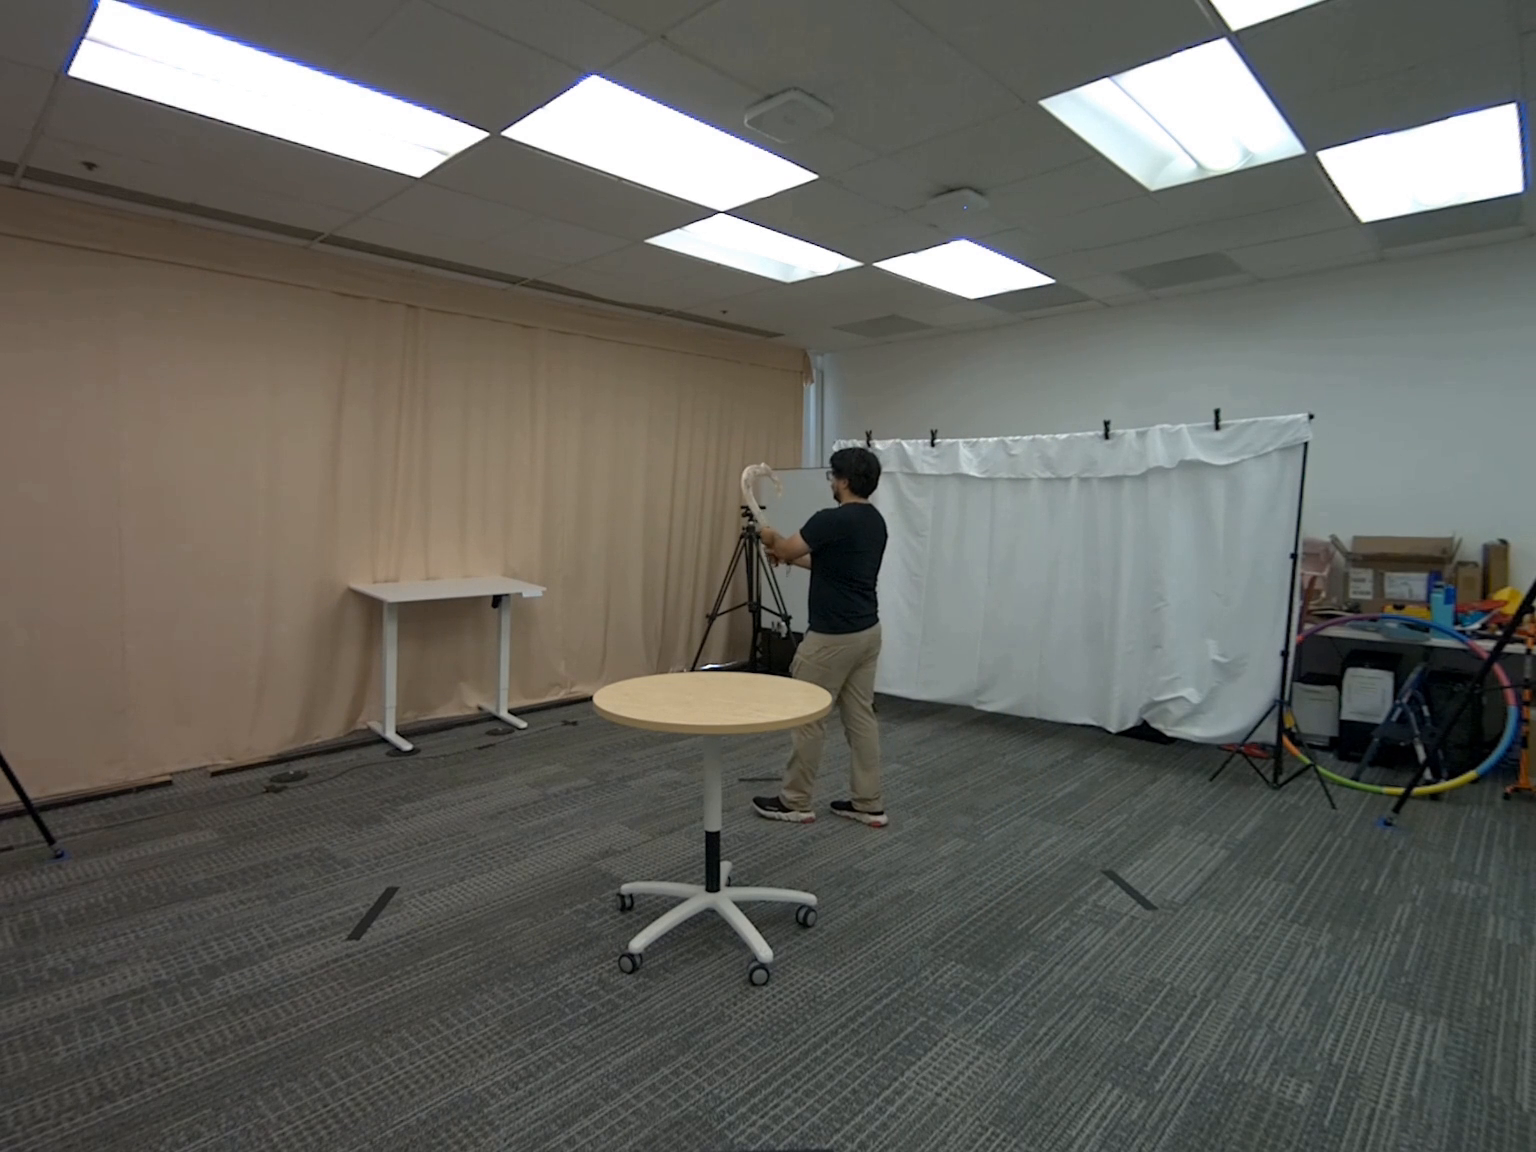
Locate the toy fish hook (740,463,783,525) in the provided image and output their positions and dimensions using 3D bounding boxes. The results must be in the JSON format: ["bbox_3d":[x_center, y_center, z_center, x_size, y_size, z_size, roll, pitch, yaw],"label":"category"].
[{"bbox_3d":[0.007,-0.298,4.110,0.220,0.507,0.049,-14,-1,-26],"label":"toy fish hook"}]
